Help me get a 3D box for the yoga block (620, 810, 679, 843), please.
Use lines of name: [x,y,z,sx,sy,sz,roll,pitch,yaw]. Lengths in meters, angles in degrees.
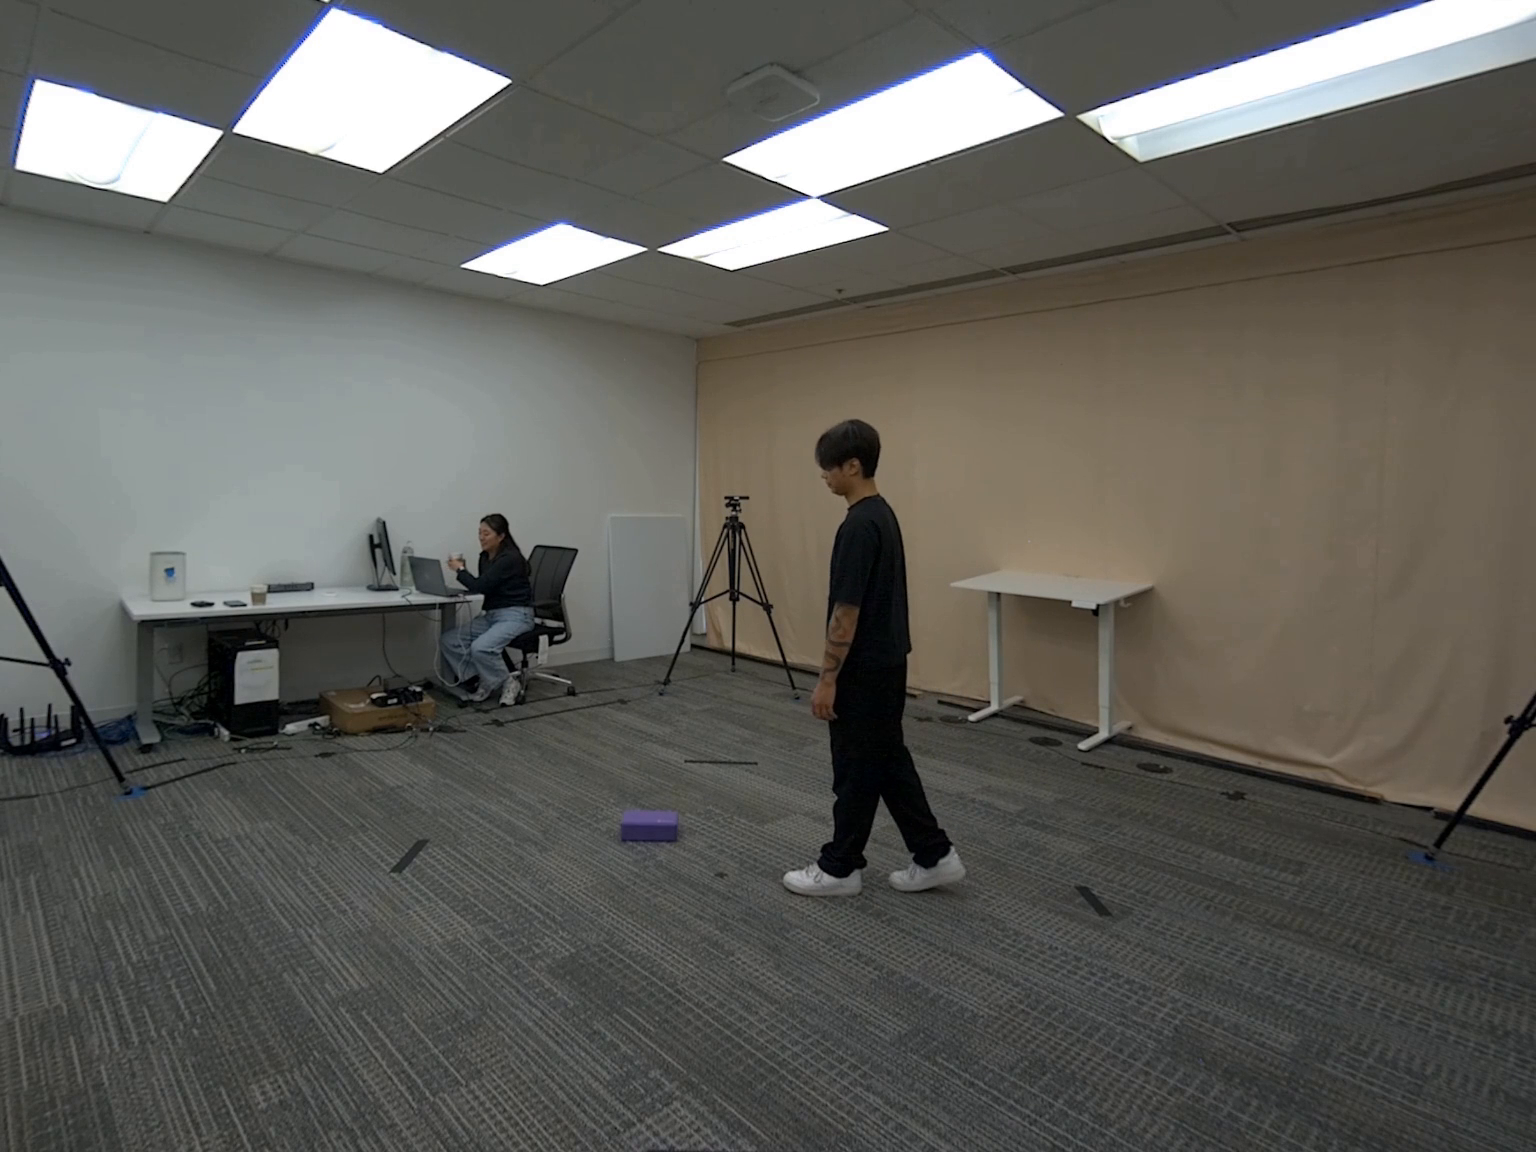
yoga block: [-0.495,1.025,3.459,0.229,0.076,0.150,1,6,-2]
